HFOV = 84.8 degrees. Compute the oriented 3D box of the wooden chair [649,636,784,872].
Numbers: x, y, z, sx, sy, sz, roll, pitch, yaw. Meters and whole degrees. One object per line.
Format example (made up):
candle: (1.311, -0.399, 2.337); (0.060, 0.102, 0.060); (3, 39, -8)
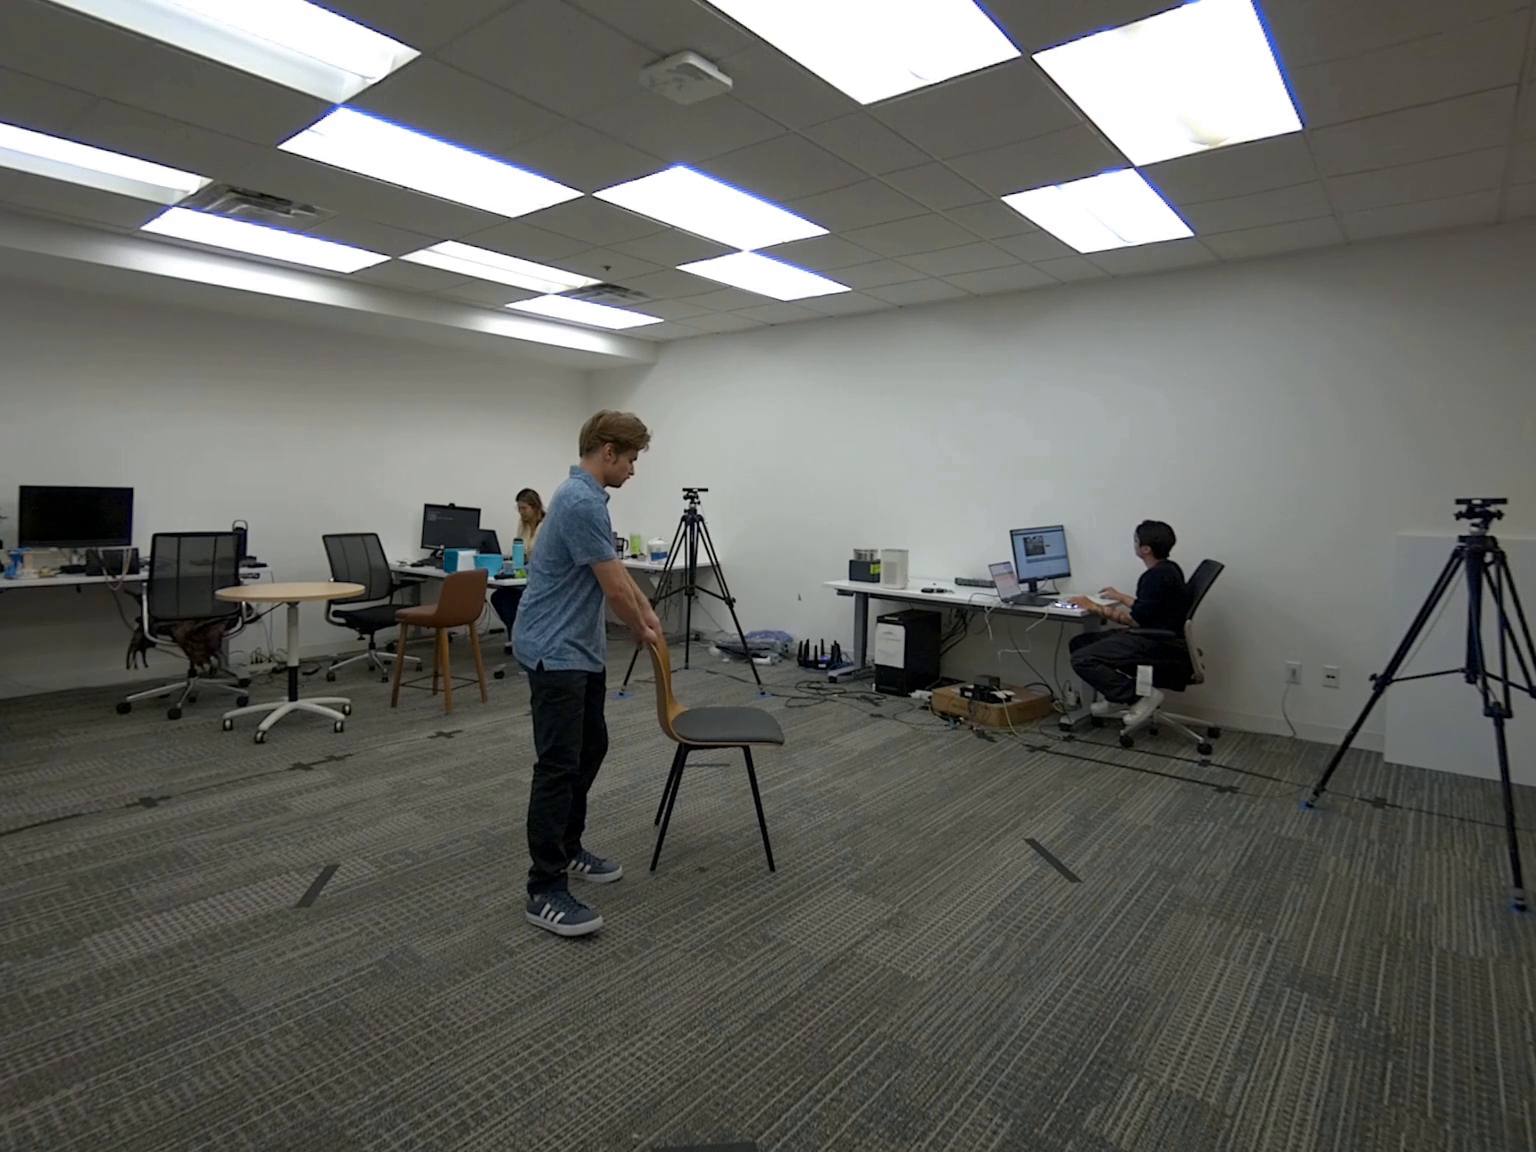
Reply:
wooden chair: (-0.214, 0.626, 3.288); (0.521, 0.875, 0.481); (-3, 3, -4)
